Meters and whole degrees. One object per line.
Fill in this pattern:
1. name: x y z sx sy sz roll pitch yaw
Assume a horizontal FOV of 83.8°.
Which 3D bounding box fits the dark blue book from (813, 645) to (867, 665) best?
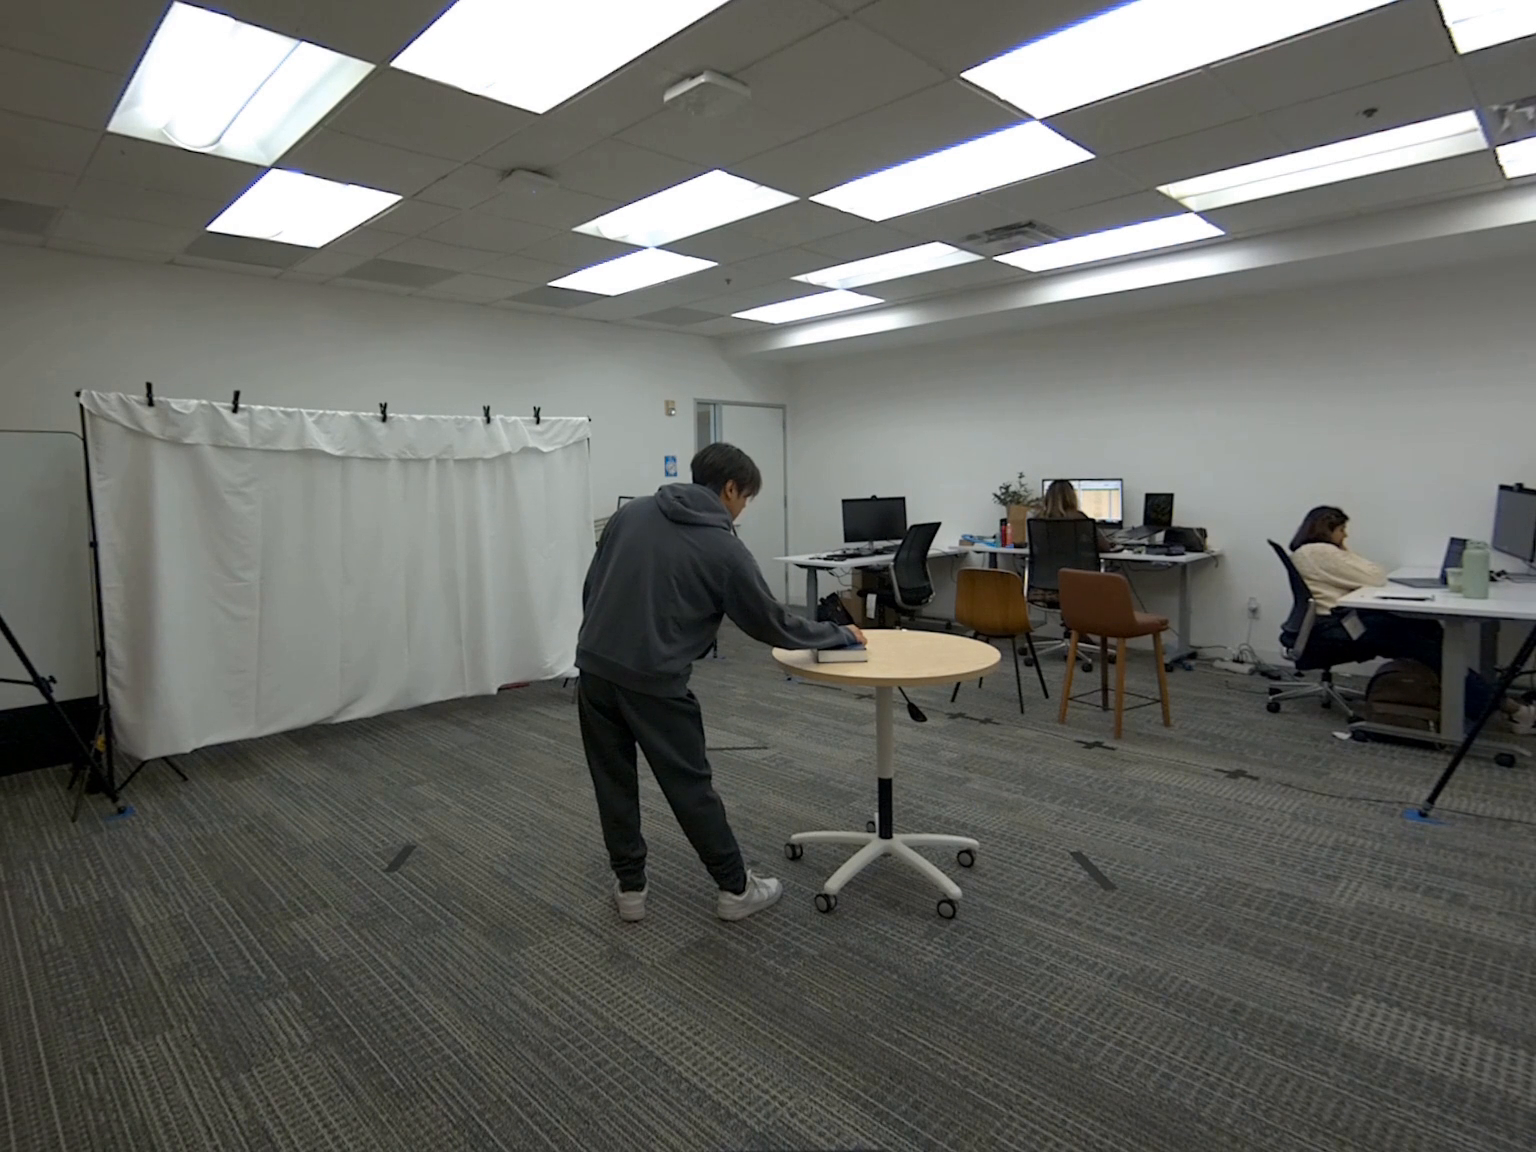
1. dark blue book: 0.242 0.244 2.897 0.163 0.045 0.247 -3 9 -4
